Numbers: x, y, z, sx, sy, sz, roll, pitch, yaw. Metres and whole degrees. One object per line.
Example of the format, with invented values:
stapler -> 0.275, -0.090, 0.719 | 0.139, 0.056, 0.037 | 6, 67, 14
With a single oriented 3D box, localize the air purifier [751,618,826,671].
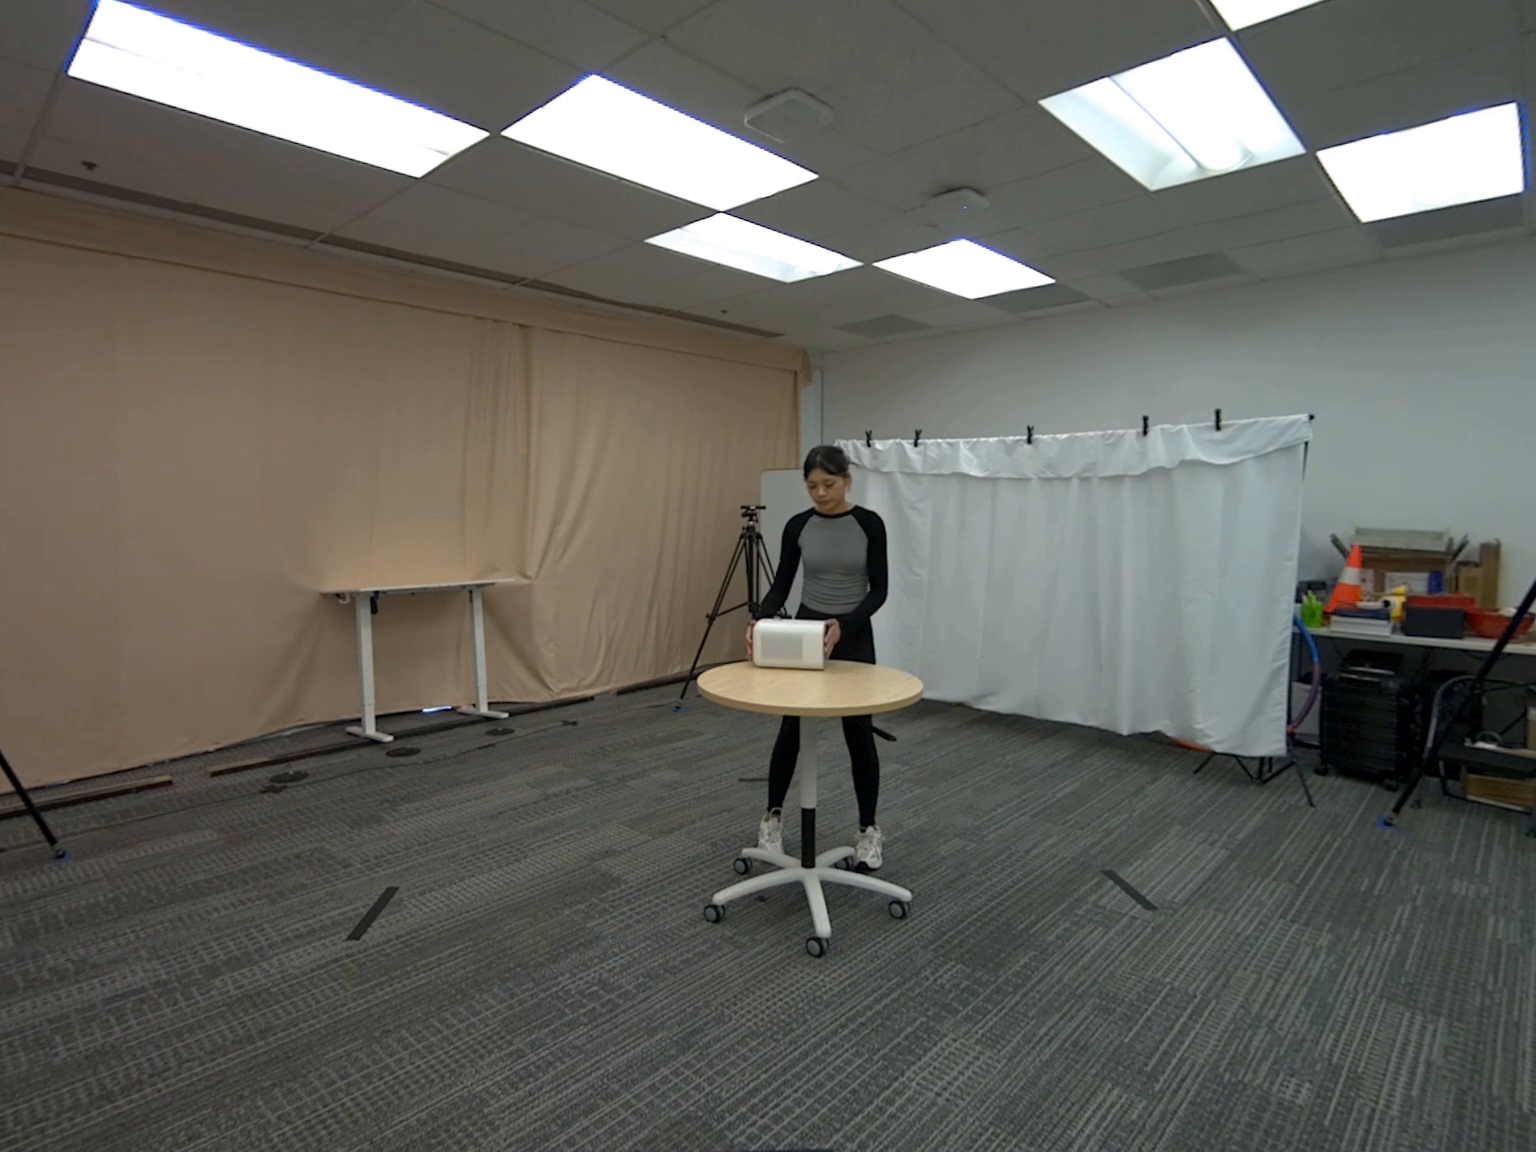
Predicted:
air purifier -> 0.096, 0.250, 3.126 | 0.268, 0.171, 0.170 | 1, 5, 10
